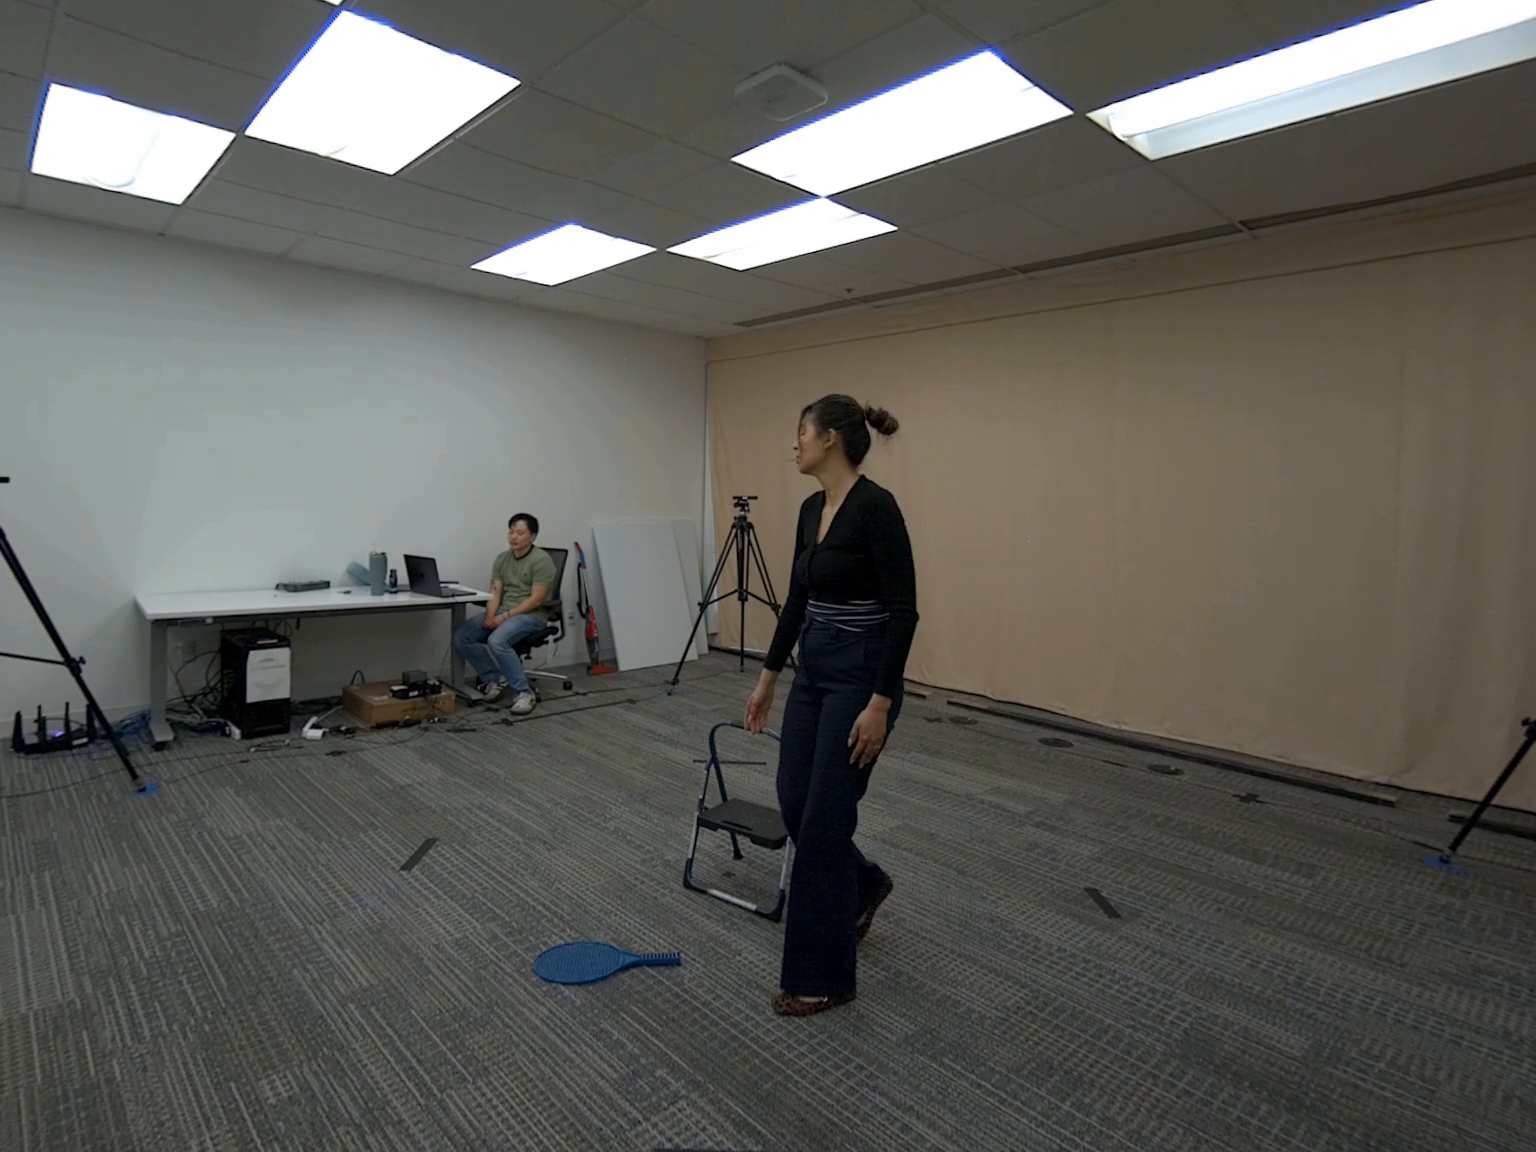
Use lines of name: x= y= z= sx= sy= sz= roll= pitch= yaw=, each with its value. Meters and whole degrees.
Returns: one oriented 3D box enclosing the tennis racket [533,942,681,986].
tennis racket: x=-0.479 y=1.133 z=2.494 sx=0.431 sy=0.031 sz=0.215 roll=0 pitch=5 yaw=-4
